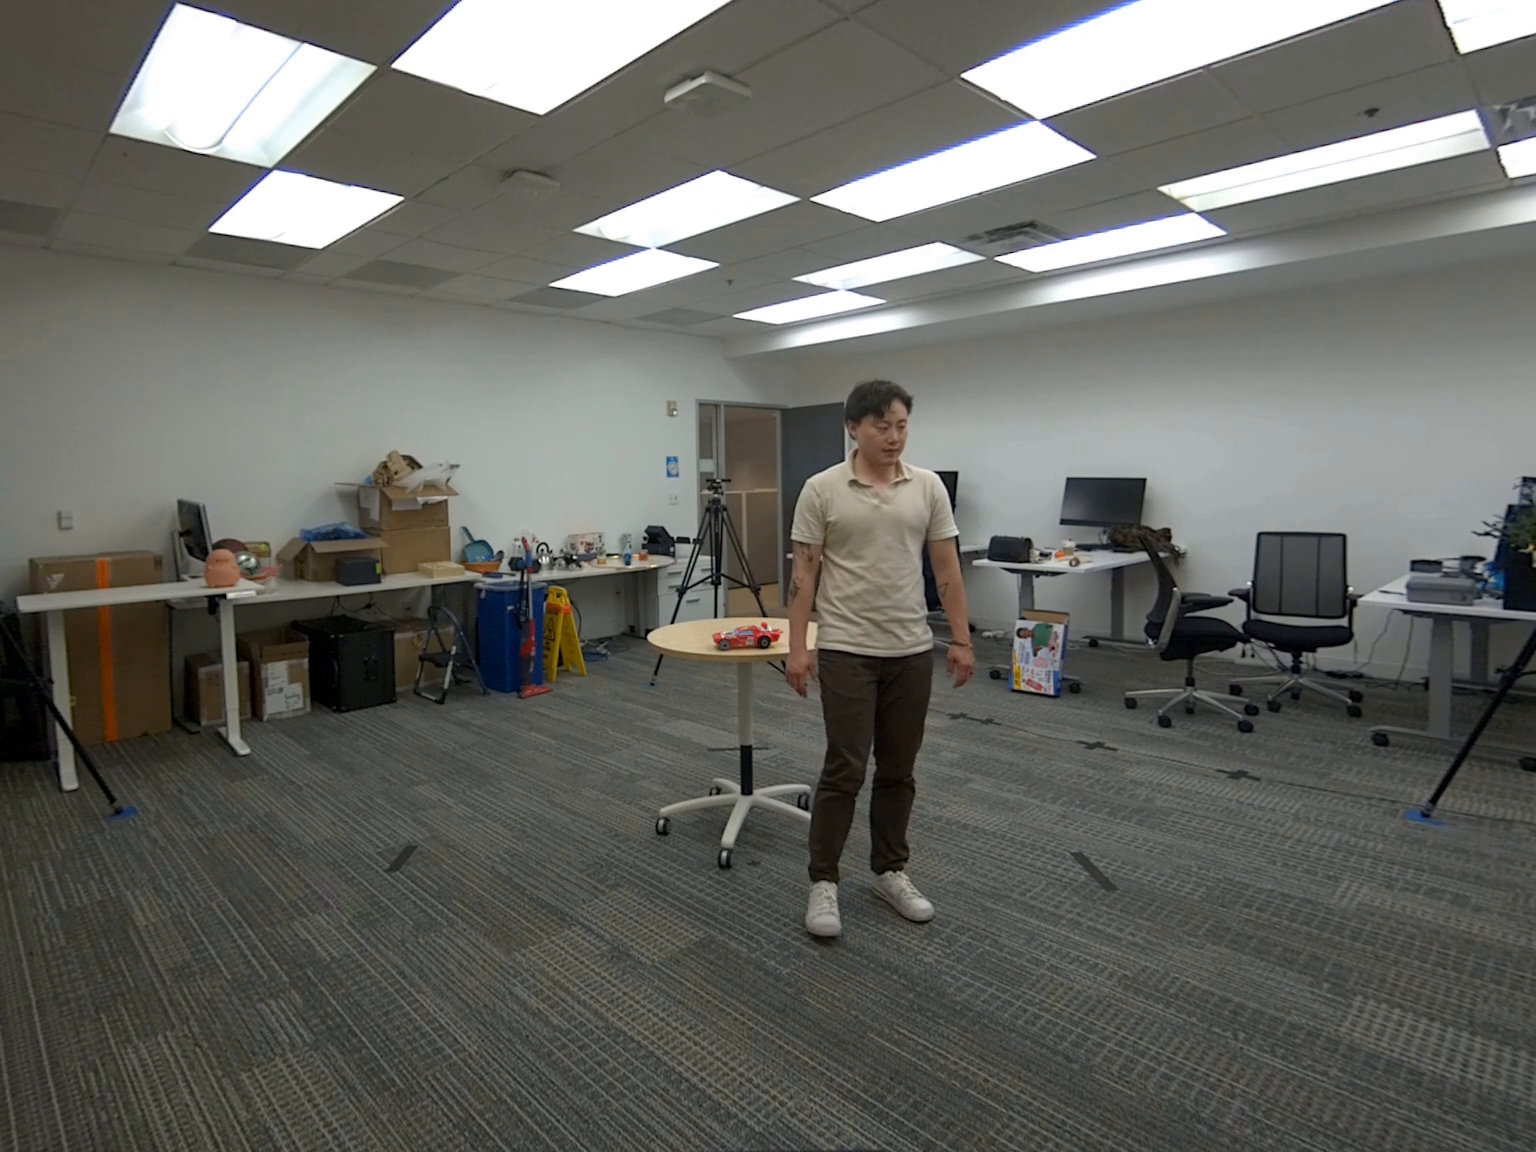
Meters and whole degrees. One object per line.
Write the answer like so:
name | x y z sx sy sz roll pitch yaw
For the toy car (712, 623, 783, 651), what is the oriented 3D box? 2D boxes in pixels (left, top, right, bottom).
toy car | -0.069 0.227 3.129 0.253 0.082 0.132 -13 8 -5
